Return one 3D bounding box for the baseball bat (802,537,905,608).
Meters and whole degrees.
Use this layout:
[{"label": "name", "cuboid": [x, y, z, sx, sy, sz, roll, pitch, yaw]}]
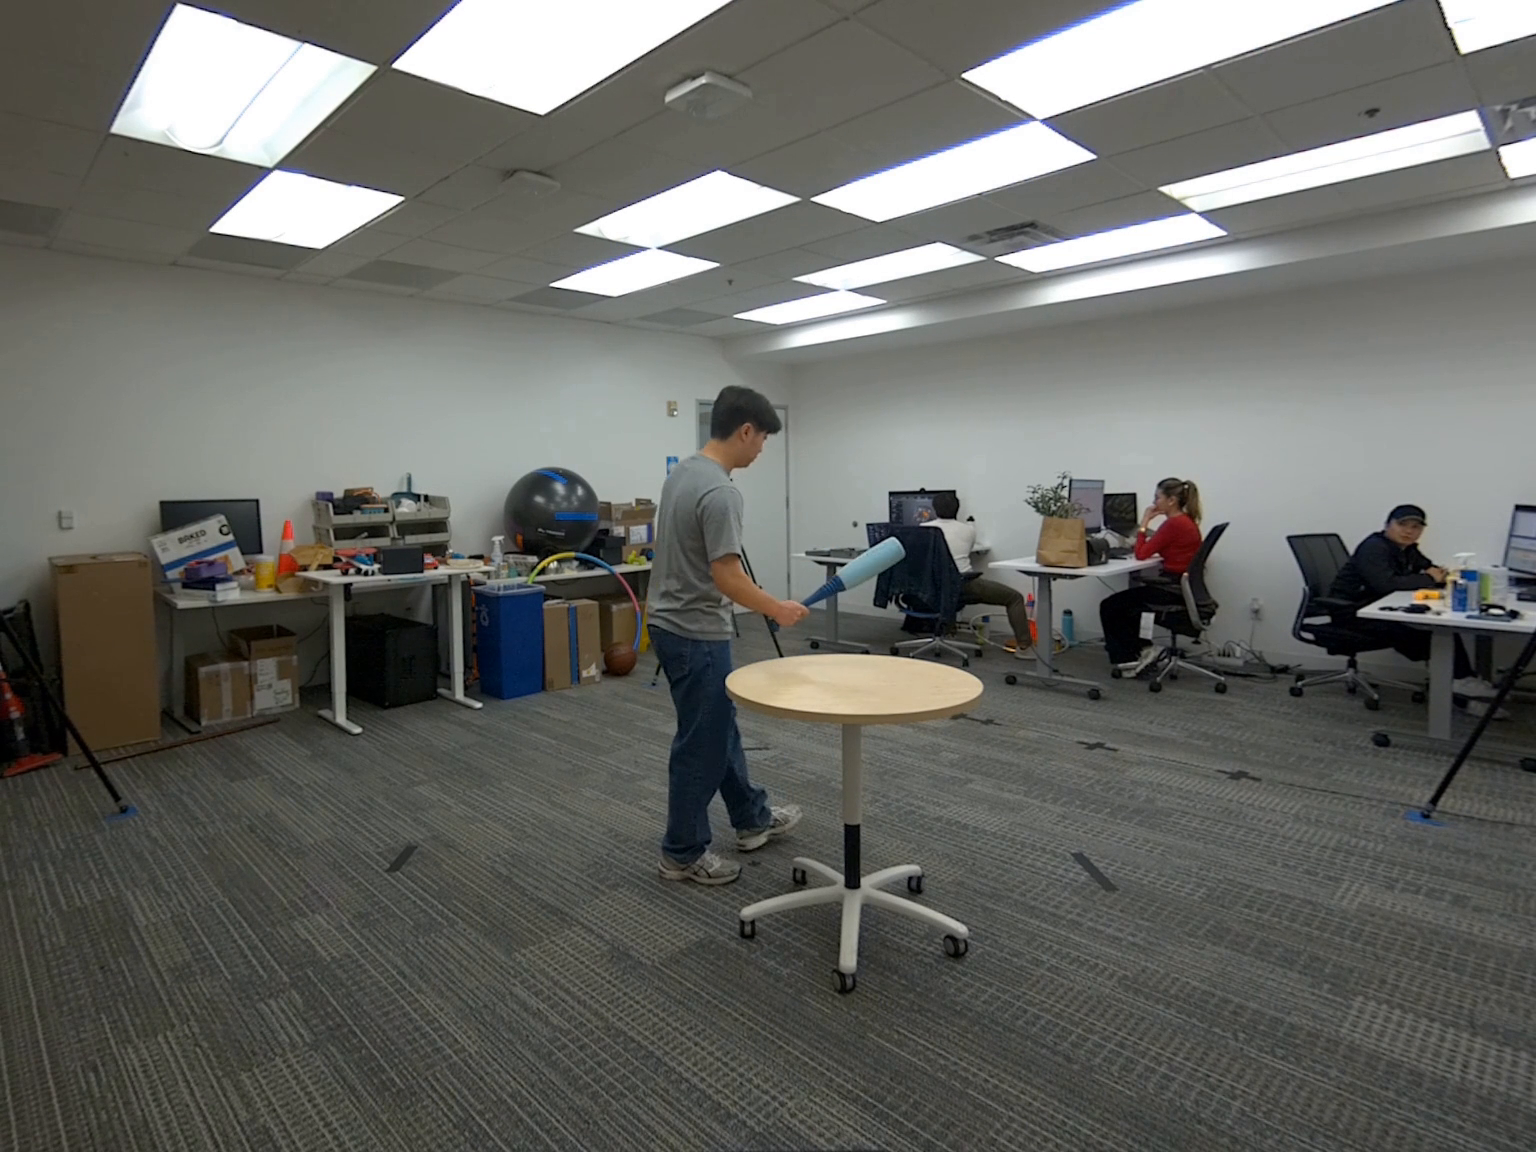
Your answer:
[{"label": "baseball bat", "cuboid": [0.225, 0.037, 2.973, 0.542, 0.088, 0.090, -31, 8, -3]}]
